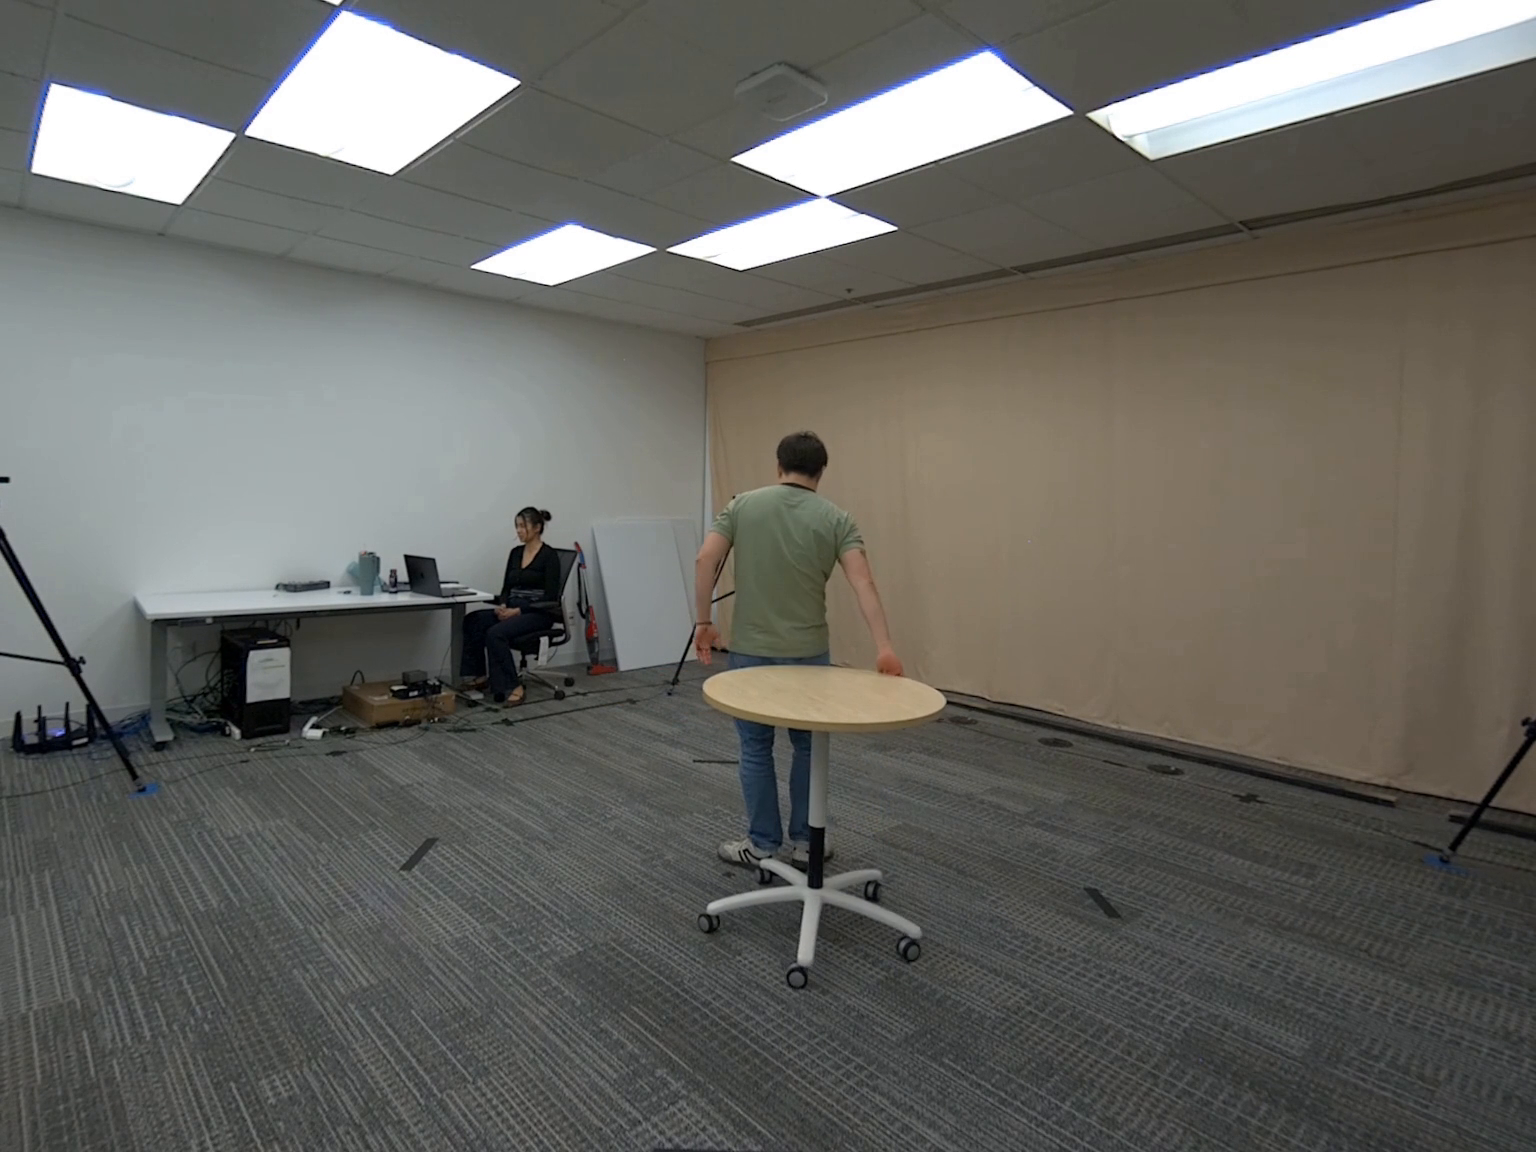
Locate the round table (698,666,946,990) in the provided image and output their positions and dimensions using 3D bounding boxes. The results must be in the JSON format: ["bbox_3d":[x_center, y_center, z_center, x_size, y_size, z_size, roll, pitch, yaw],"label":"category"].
[{"bbox_3d":[0.150,0.759,2.707,0.763,0.791,0.767,2,5,-2],"label":"round table"}]
